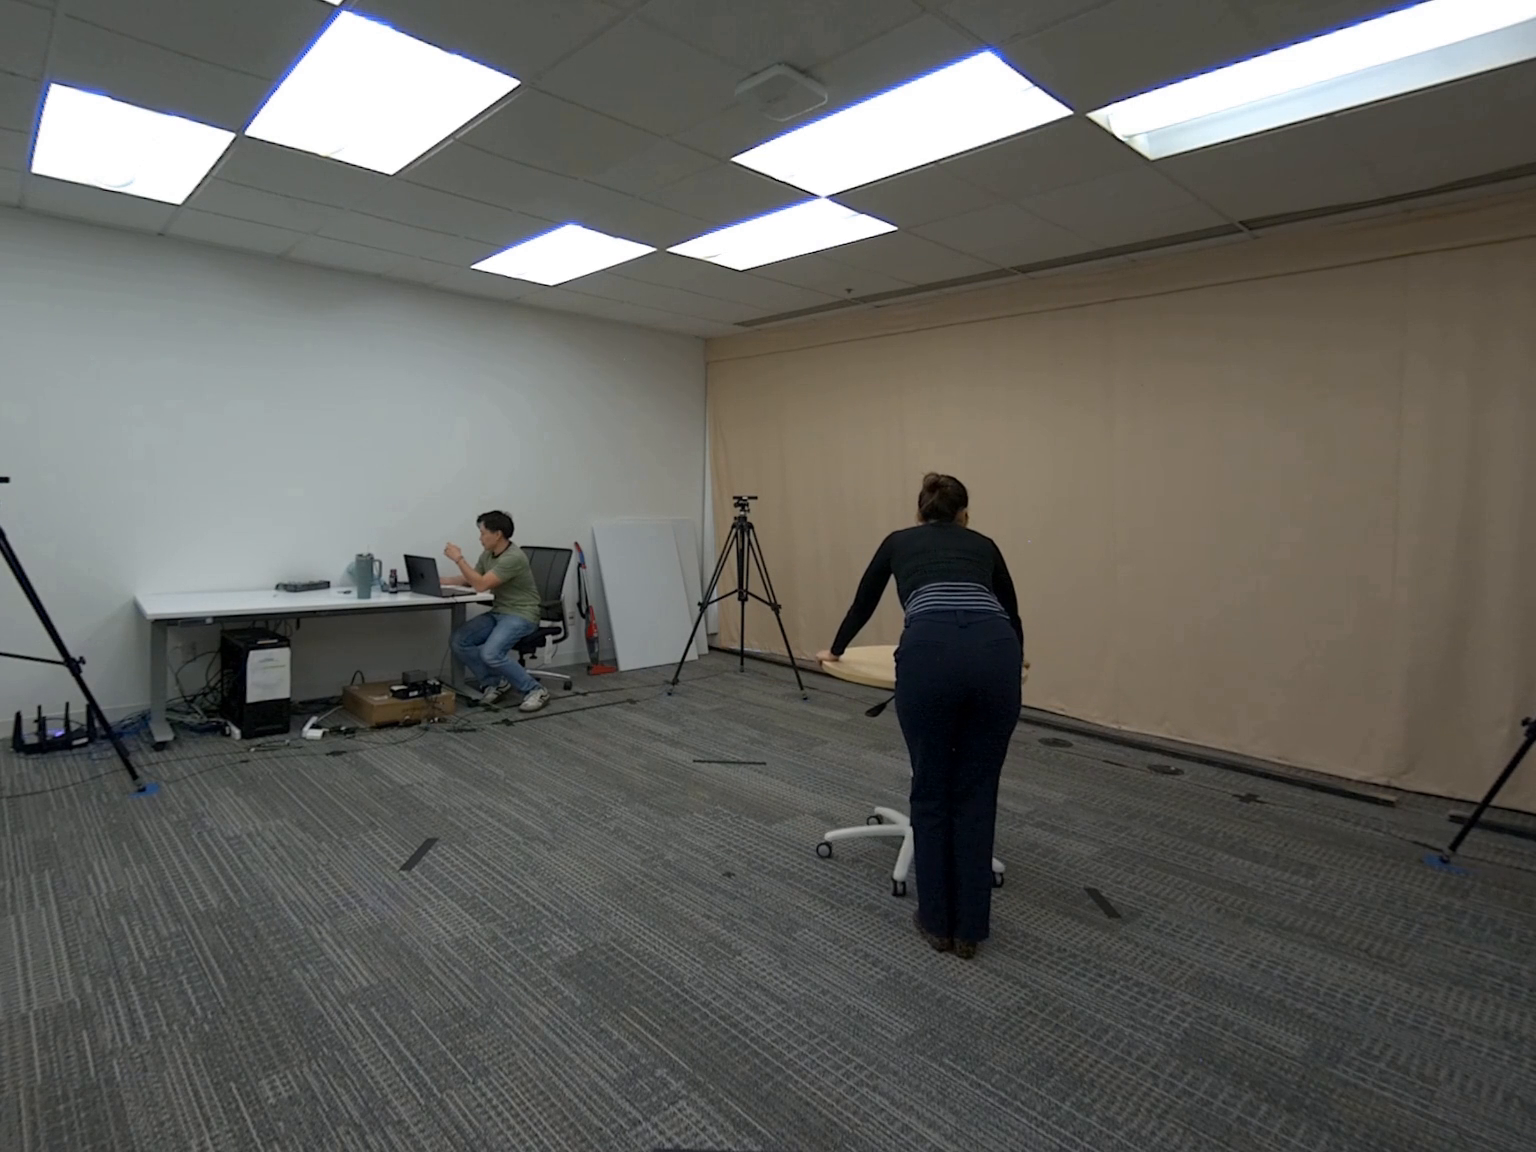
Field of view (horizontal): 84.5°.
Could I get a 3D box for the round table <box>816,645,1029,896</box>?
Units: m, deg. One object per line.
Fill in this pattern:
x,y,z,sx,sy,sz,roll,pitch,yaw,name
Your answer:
0.567,0.724,3.249,0.763,0.792,0.767,2,4,-2,round table
